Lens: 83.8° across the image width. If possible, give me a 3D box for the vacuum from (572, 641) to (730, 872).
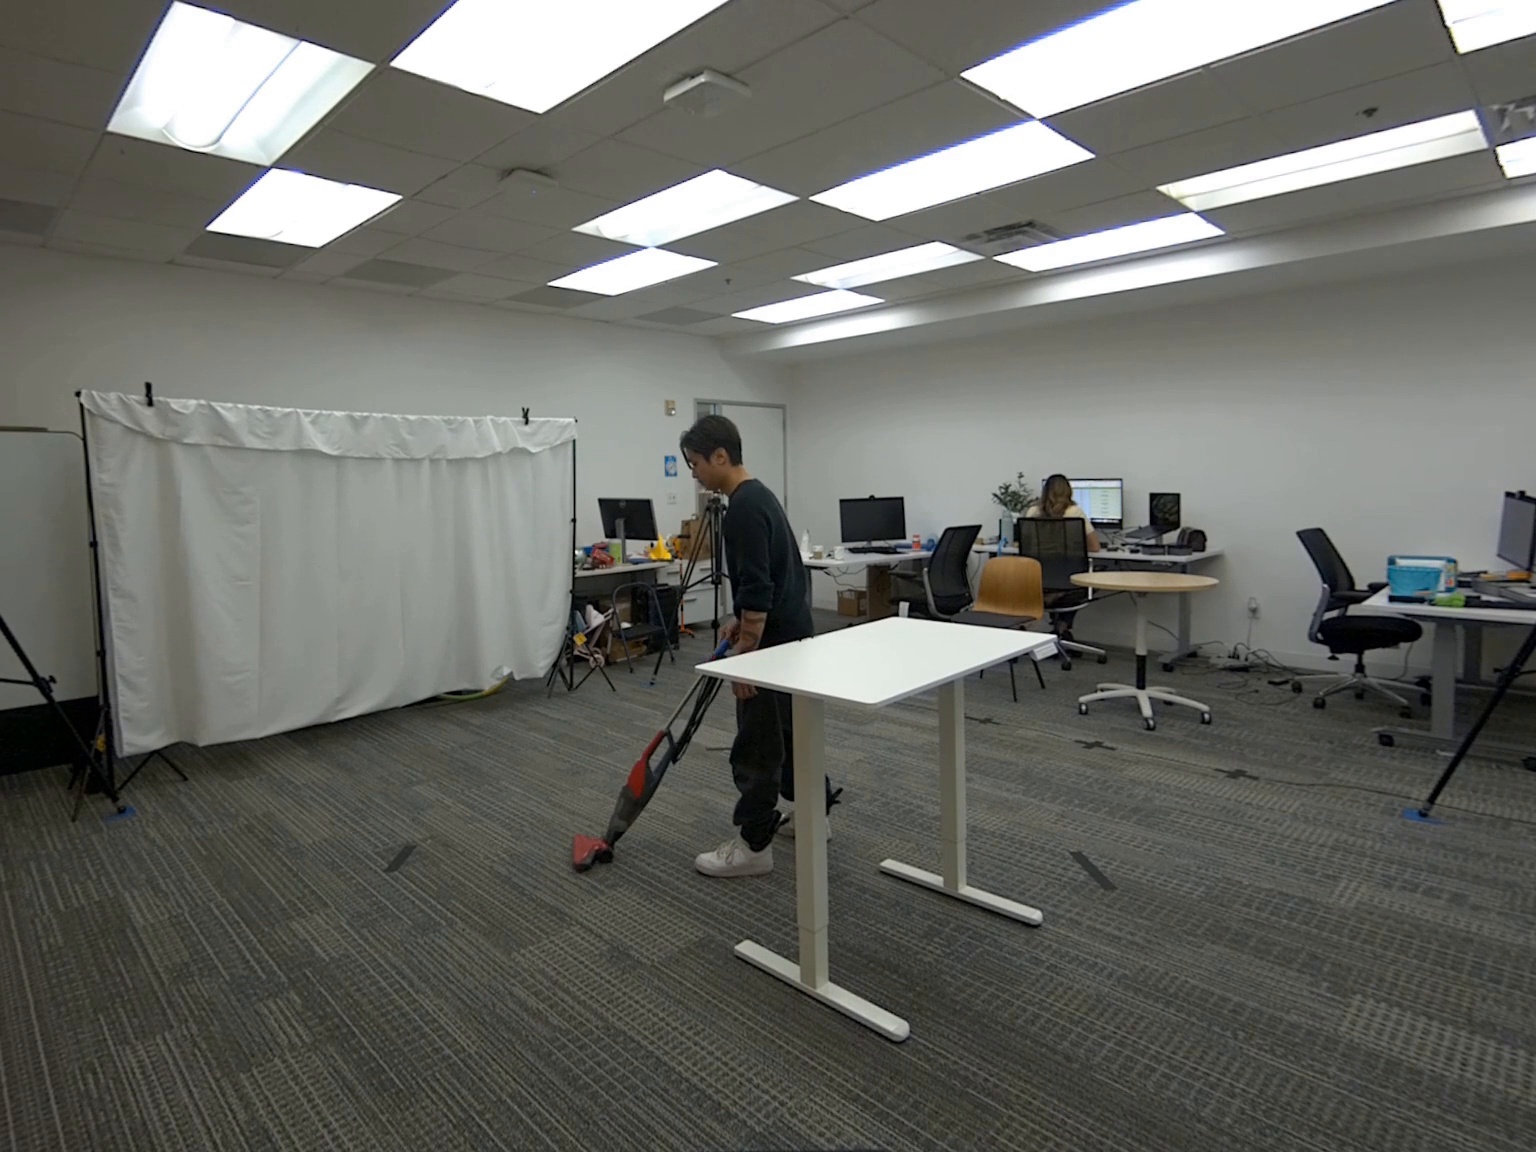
[{"bbox_3d":[-0.360,0.612,3.203,0.142,1.050,0.257,35,-3,-14],"label":"vacuum"}]
